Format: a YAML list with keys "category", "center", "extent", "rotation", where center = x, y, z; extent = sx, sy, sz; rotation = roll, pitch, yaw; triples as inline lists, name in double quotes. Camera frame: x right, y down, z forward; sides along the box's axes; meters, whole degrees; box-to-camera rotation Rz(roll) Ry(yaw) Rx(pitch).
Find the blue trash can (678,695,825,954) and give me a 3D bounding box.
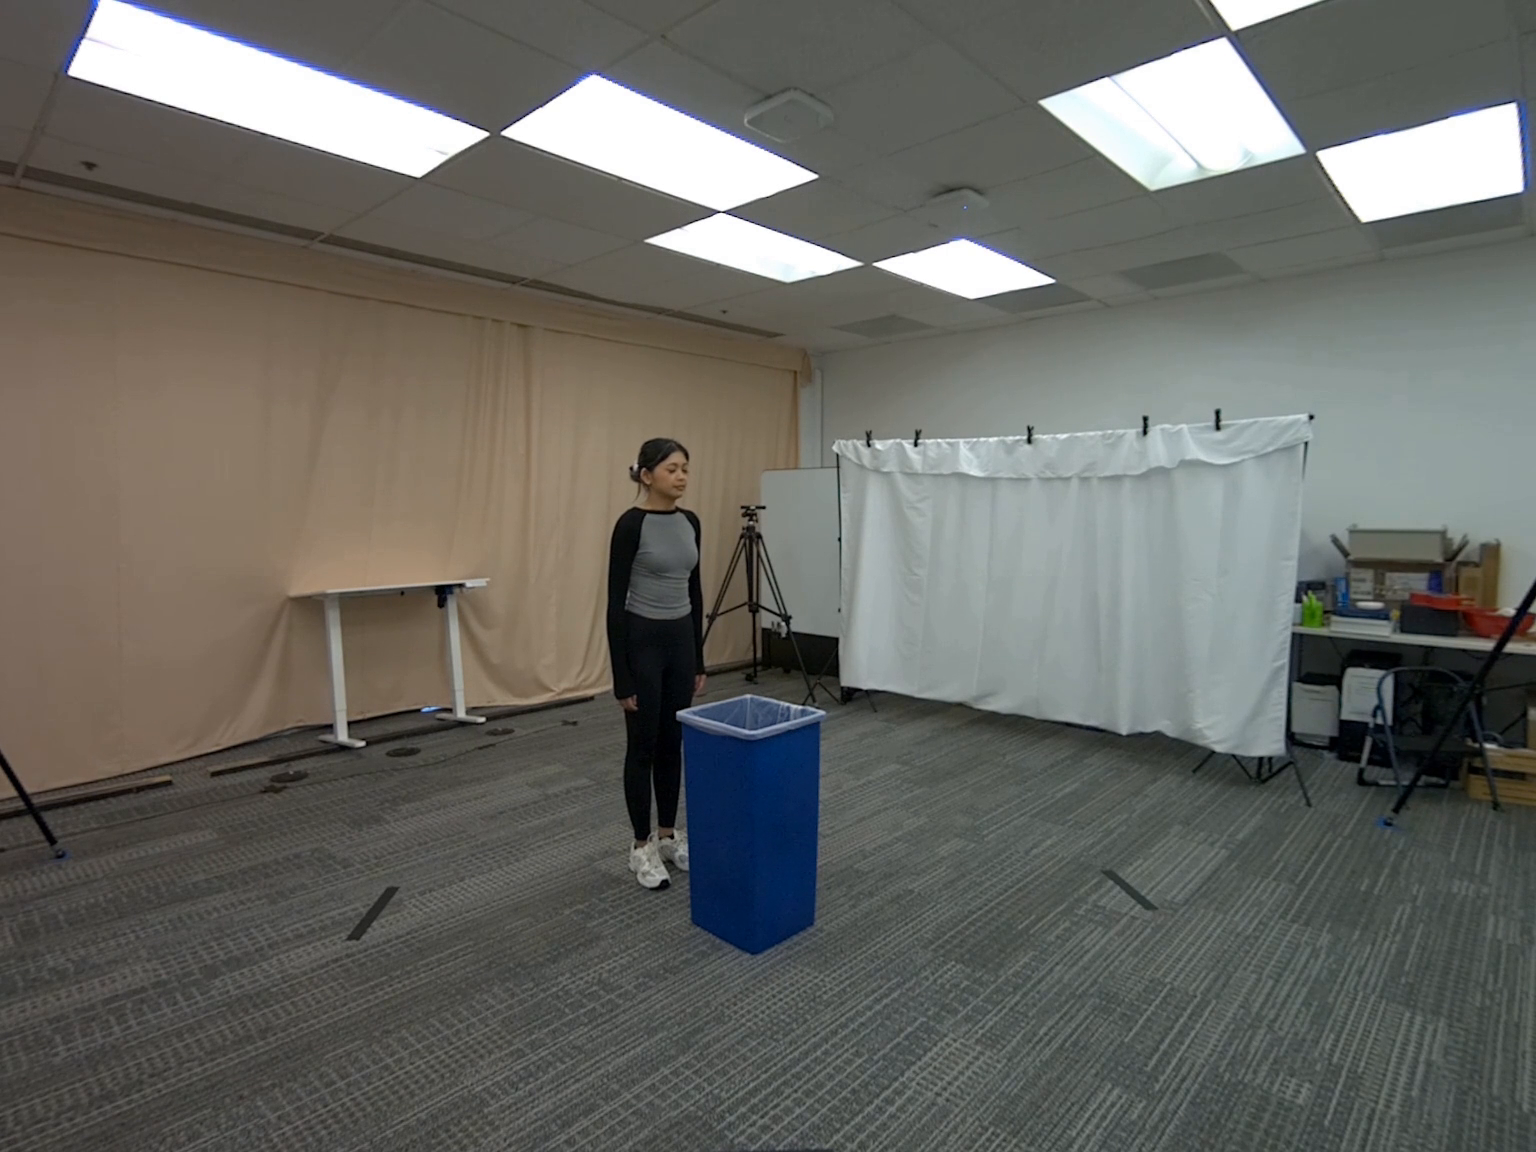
- category: "blue trash can"
  center: [-0.052, 0.803, 2.785]
  extent: [0.391, 0.712, 0.362]
  rotation: [3, 4, 45]
